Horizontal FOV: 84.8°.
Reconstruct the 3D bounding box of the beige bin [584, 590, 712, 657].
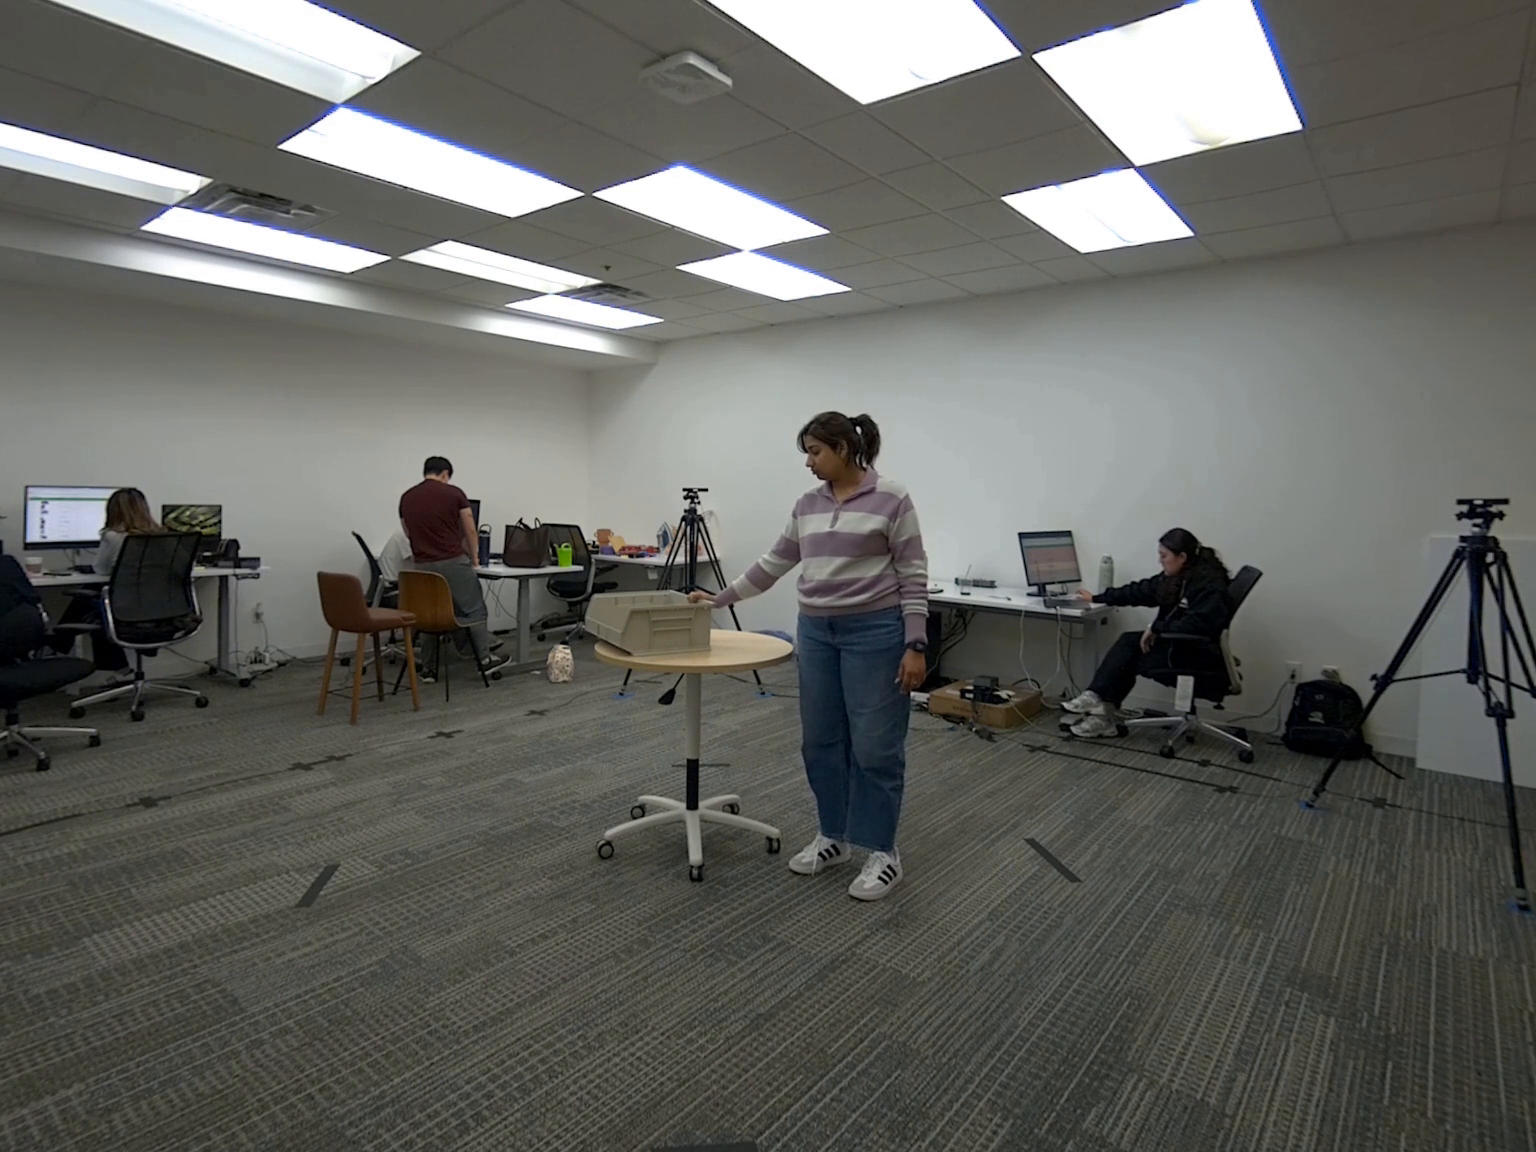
[{"bbox_3d":[-0.475,0.176,3.297,0.367,0.188,0.435,0,5,-30],"label":"beige bin"}]
